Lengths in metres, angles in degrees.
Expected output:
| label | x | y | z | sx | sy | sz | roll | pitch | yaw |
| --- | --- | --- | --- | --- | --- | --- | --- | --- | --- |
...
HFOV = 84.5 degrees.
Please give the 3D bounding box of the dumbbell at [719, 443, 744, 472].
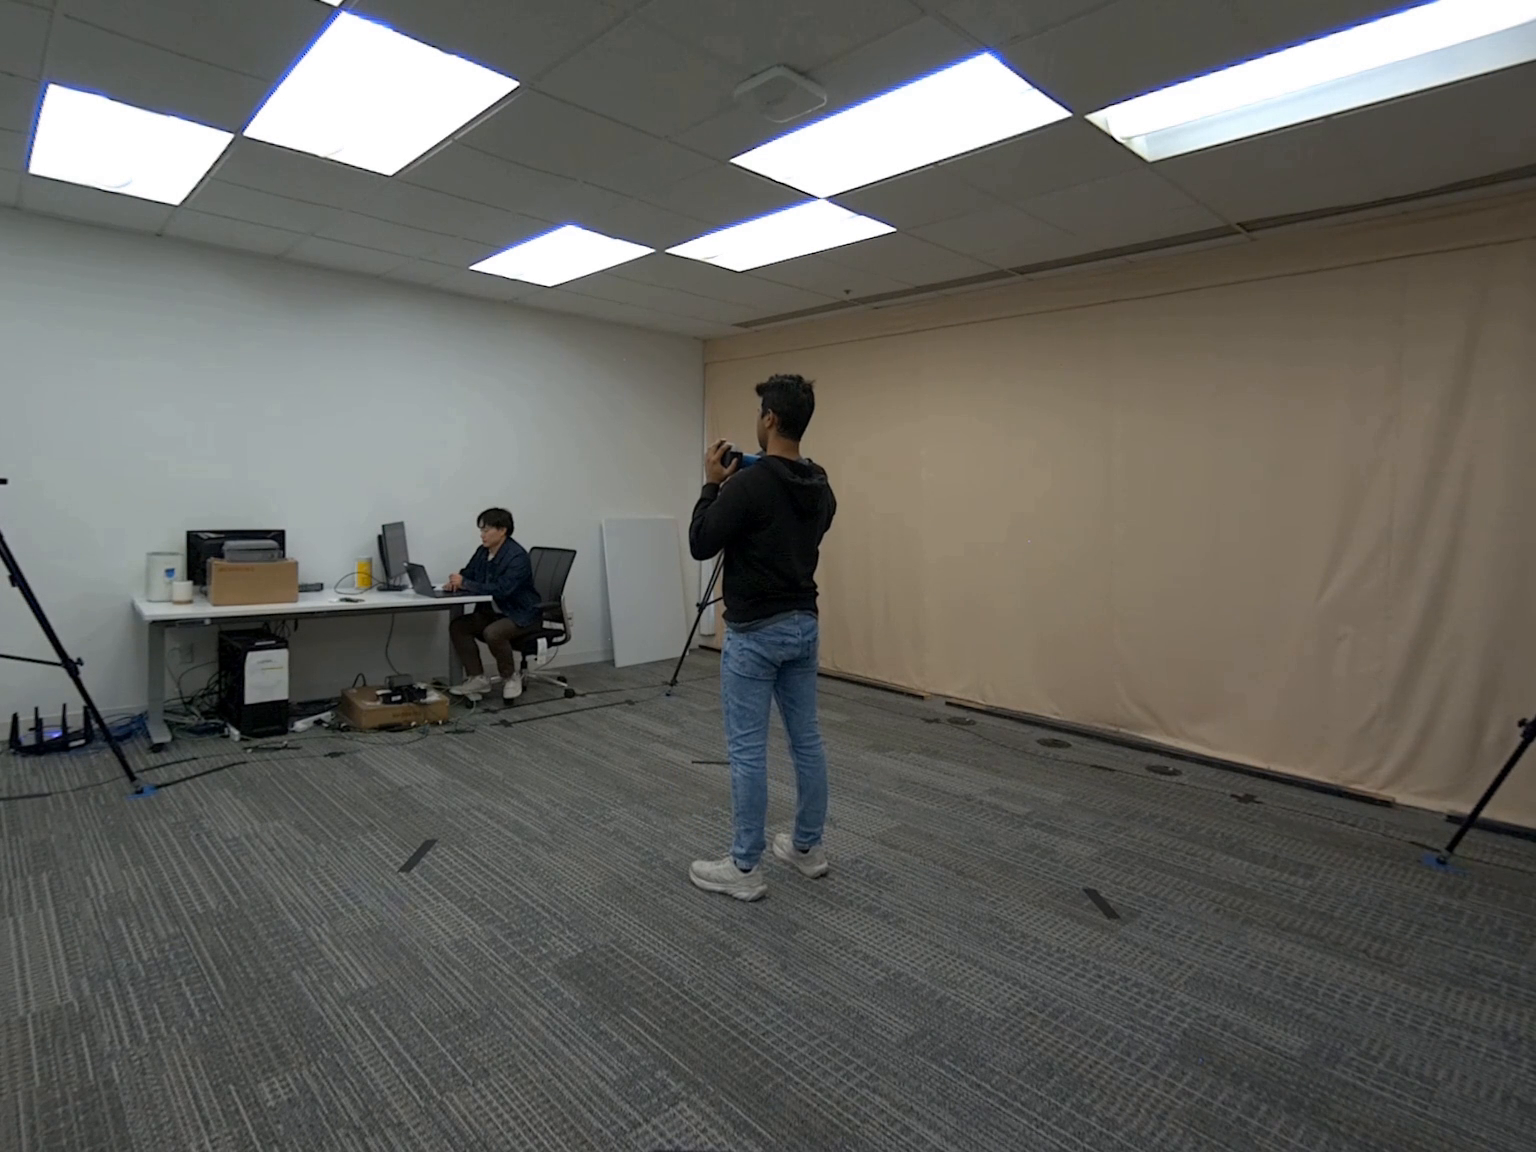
| label | x | y | z | sx | sy | sz | roll | pitch | yaw |
| --- | --- | --- | --- | --- | --- | --- | --- | --- | --- |
| dumbbell | -0.076 | -0.424 | 3.128 | 0.286 | 0.122 | 0.112 | 1 | 9 | -45 |
